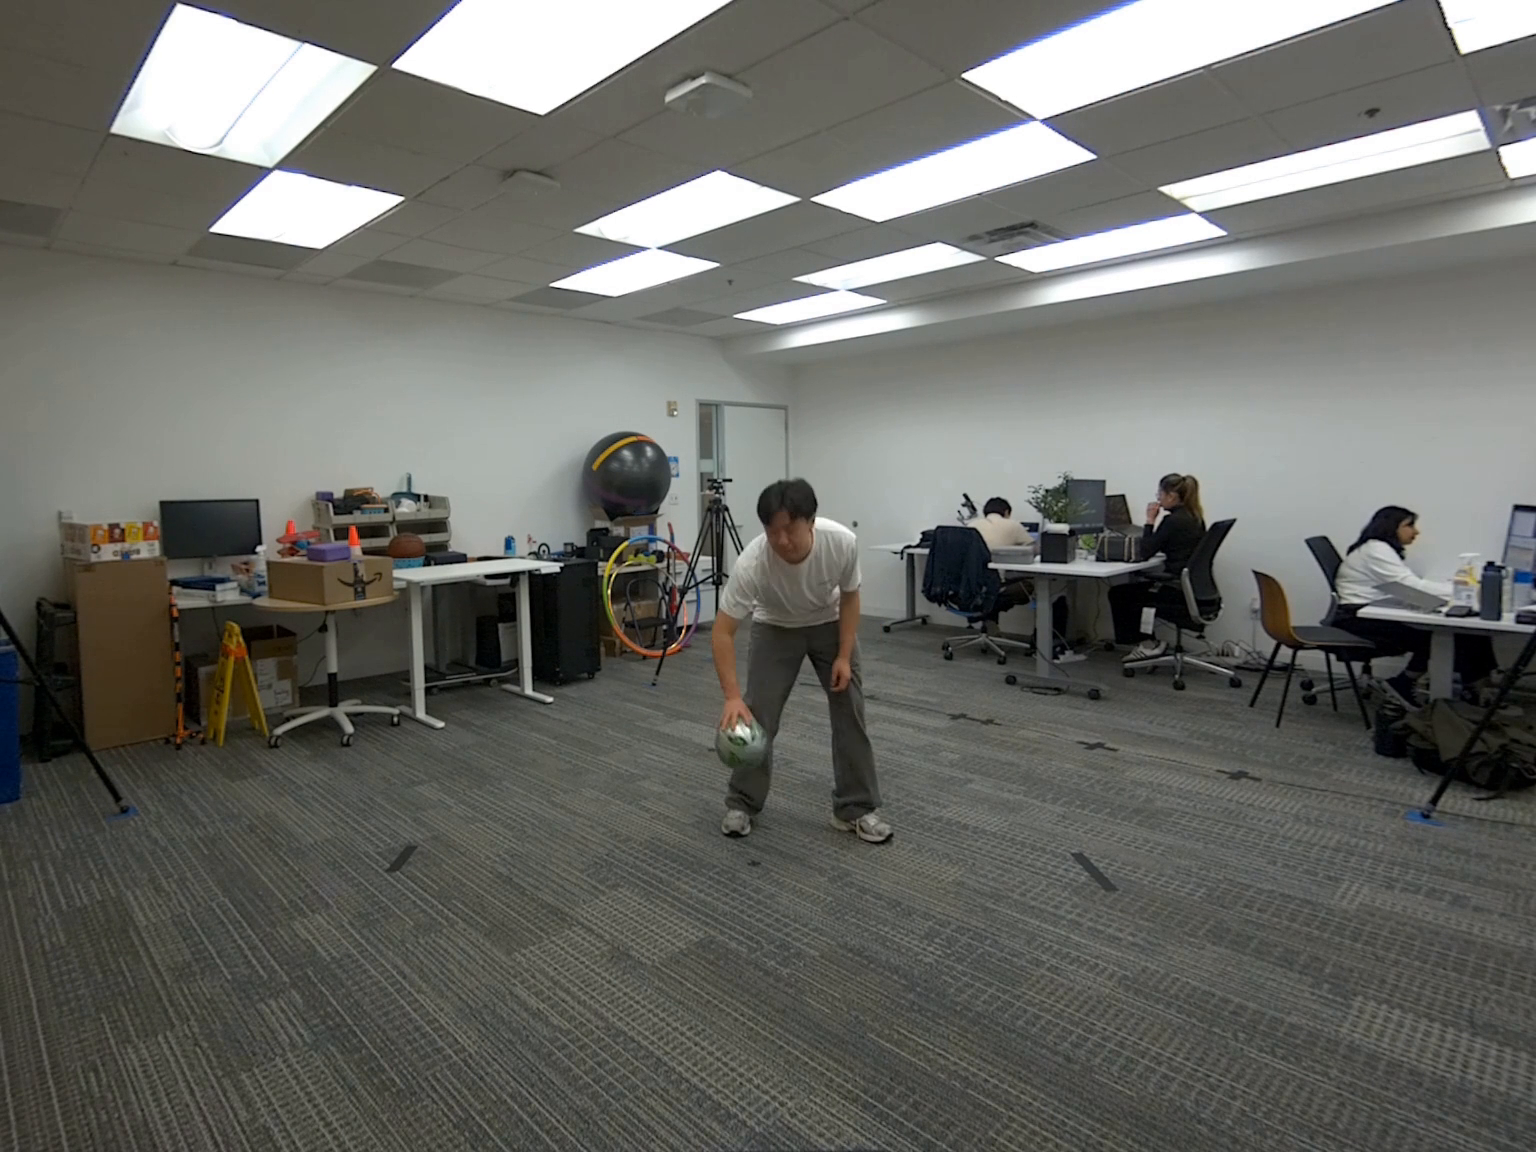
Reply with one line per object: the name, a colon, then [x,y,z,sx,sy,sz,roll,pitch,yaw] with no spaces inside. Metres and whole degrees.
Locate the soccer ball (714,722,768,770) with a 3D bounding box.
soccer ball: [-0.091,0.649,3.055,0.187,0.187,0.188,-1,5,-2]
